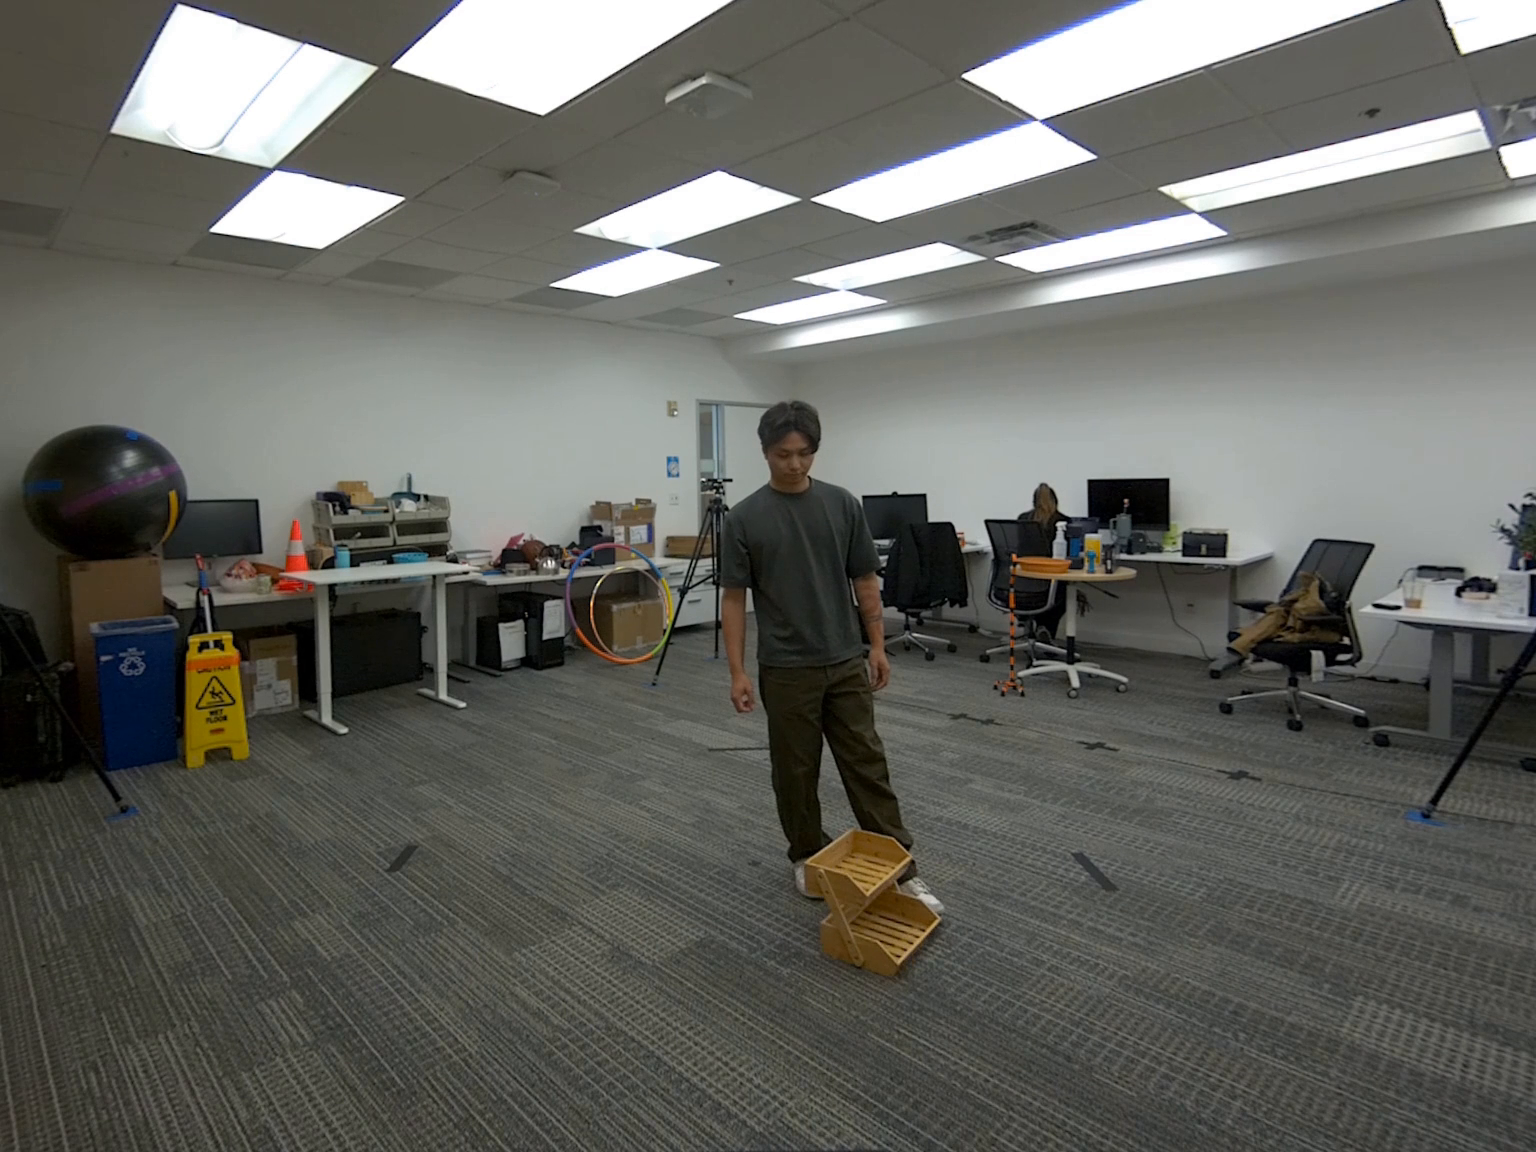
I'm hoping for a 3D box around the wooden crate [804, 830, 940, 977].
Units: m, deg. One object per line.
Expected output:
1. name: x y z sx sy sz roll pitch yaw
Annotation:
1. wooden crate: 0.329 0.967 2.574 0.310 0.272 0.316 1 5 35
